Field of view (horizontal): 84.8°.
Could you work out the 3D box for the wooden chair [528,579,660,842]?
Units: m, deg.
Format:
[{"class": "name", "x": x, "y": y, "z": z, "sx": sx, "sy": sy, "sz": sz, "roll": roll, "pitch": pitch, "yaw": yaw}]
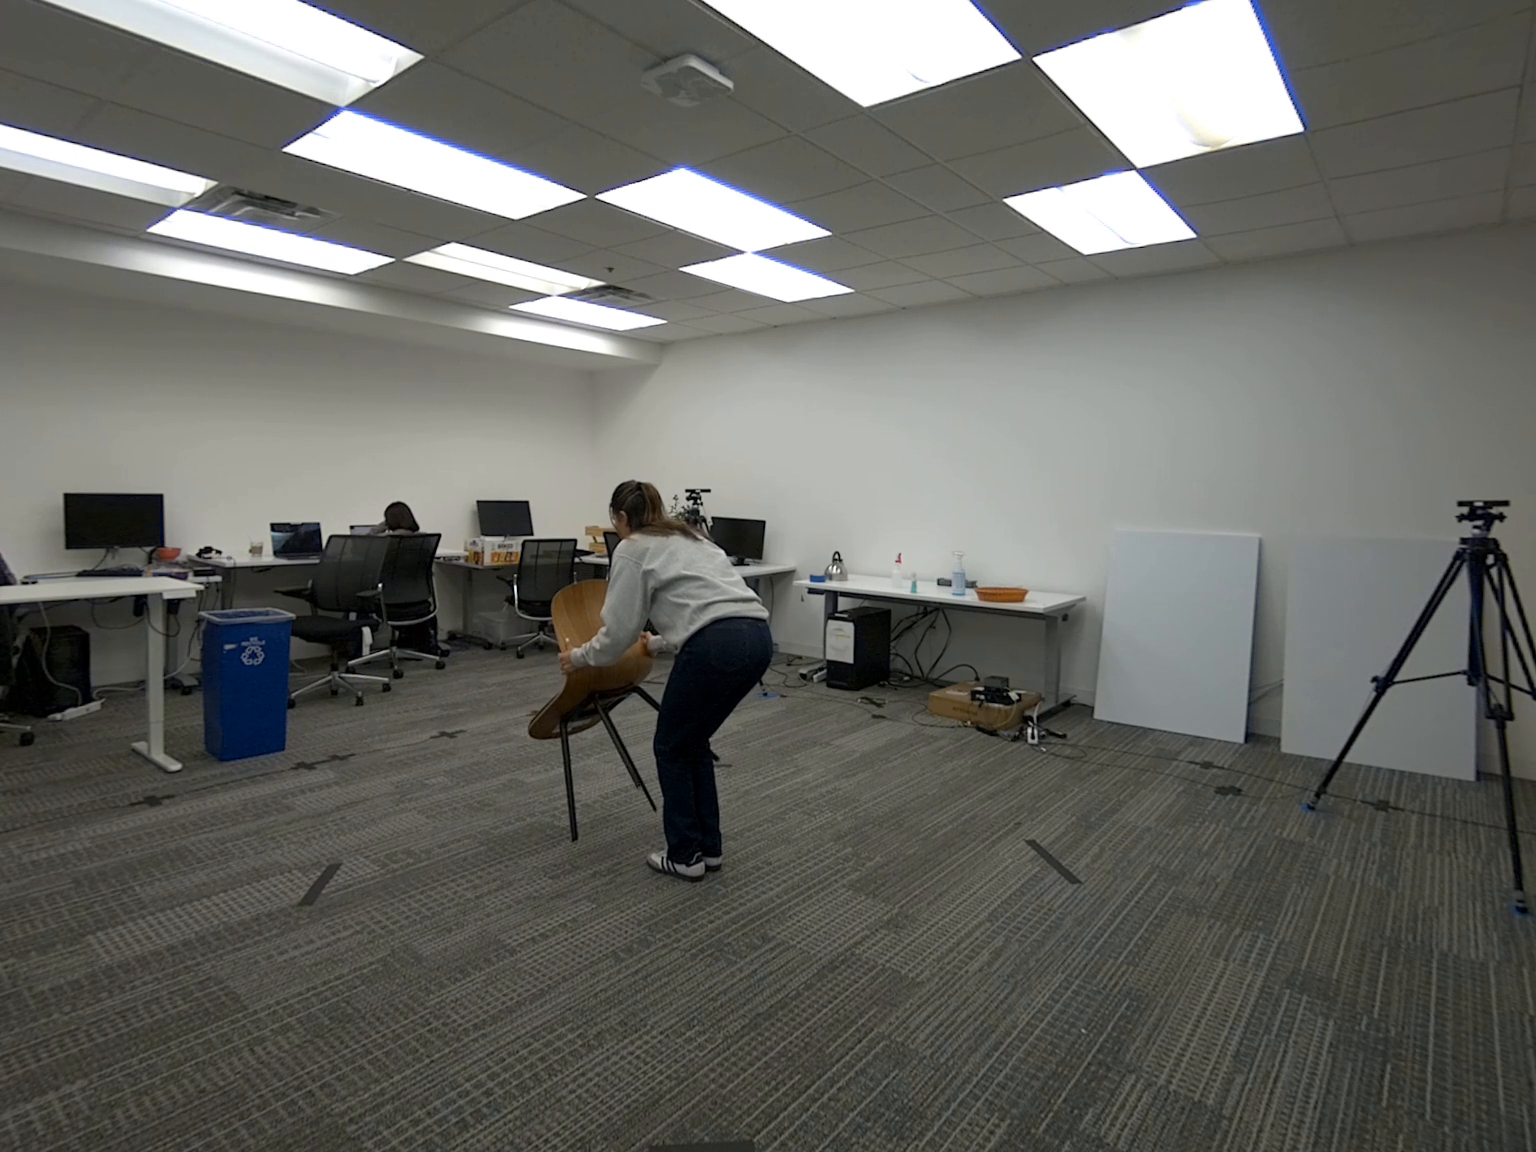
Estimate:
[{"class": "wooden chair", "x": -0.694, "y": 0.520, "z": 3.425, "sx": 0.525, "sy": 0.900, "sz": 0.464, "roll": -41, "pitch": -22, "yaw": 32}]
